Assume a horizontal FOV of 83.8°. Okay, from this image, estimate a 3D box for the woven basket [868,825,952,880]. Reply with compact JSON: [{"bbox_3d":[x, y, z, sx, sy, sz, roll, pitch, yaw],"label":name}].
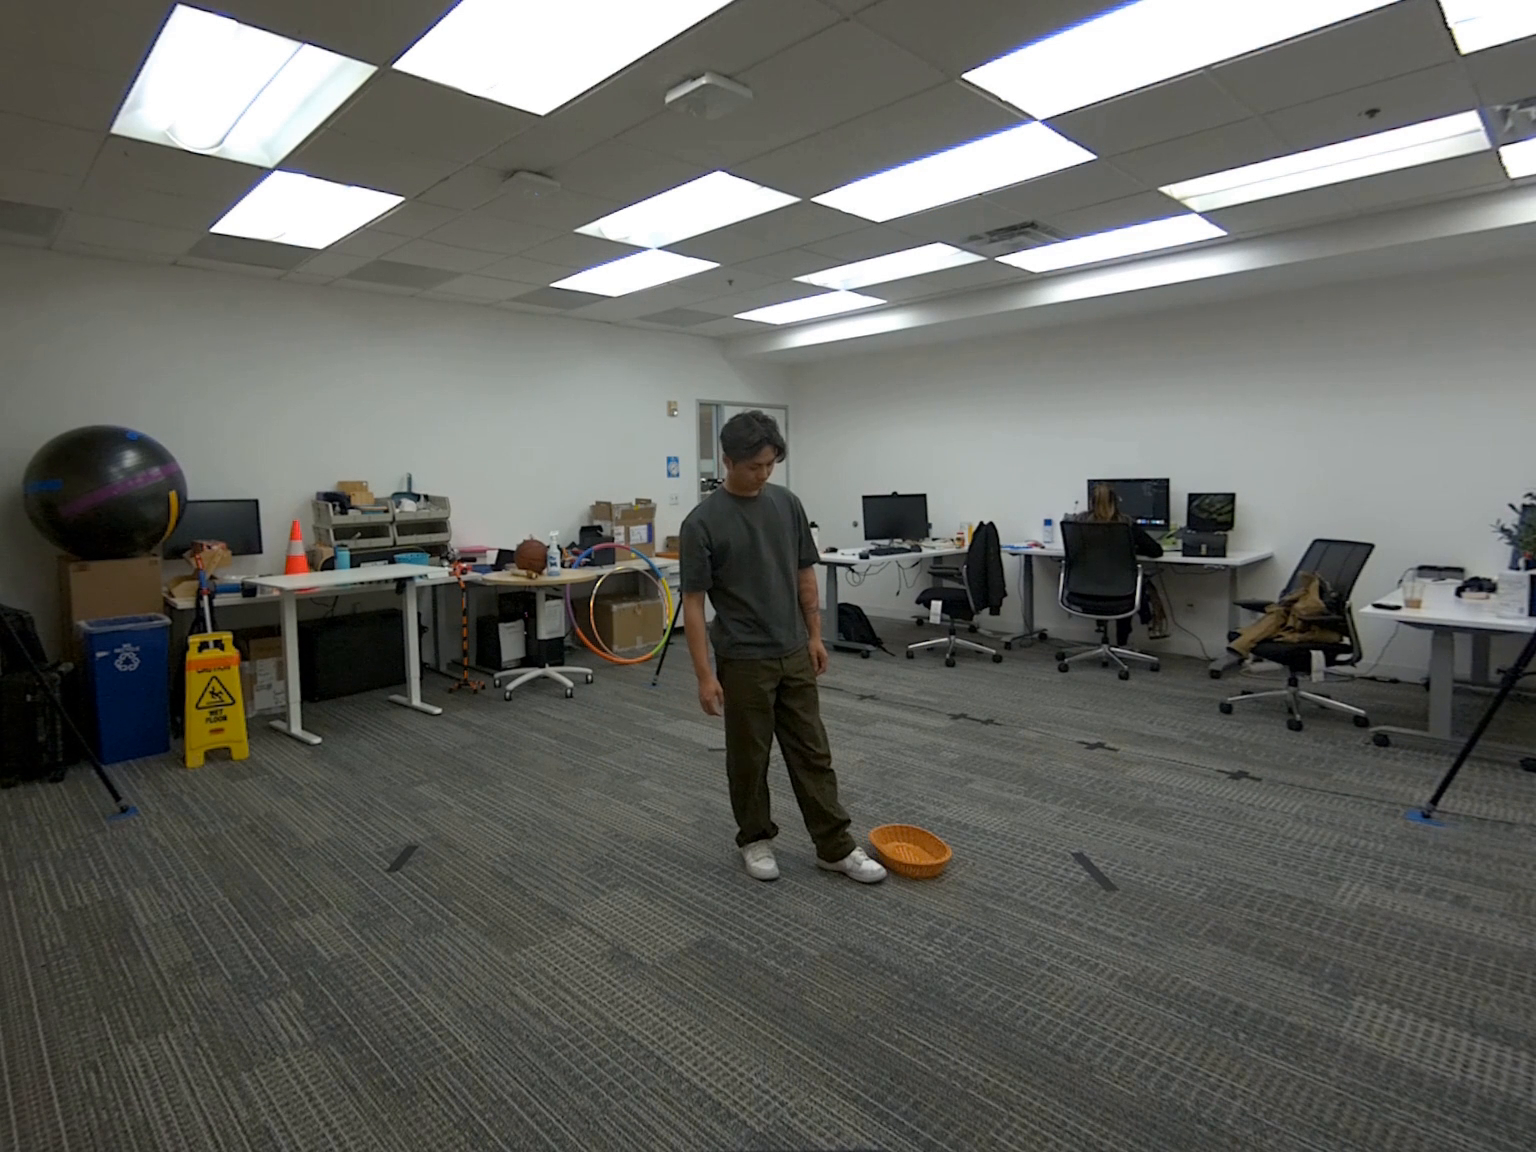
[{"bbox_3d":[0.508,0.994,3.095,0.248,0.073,0.358,-3,6,-19],"label":"woven basket"}]
